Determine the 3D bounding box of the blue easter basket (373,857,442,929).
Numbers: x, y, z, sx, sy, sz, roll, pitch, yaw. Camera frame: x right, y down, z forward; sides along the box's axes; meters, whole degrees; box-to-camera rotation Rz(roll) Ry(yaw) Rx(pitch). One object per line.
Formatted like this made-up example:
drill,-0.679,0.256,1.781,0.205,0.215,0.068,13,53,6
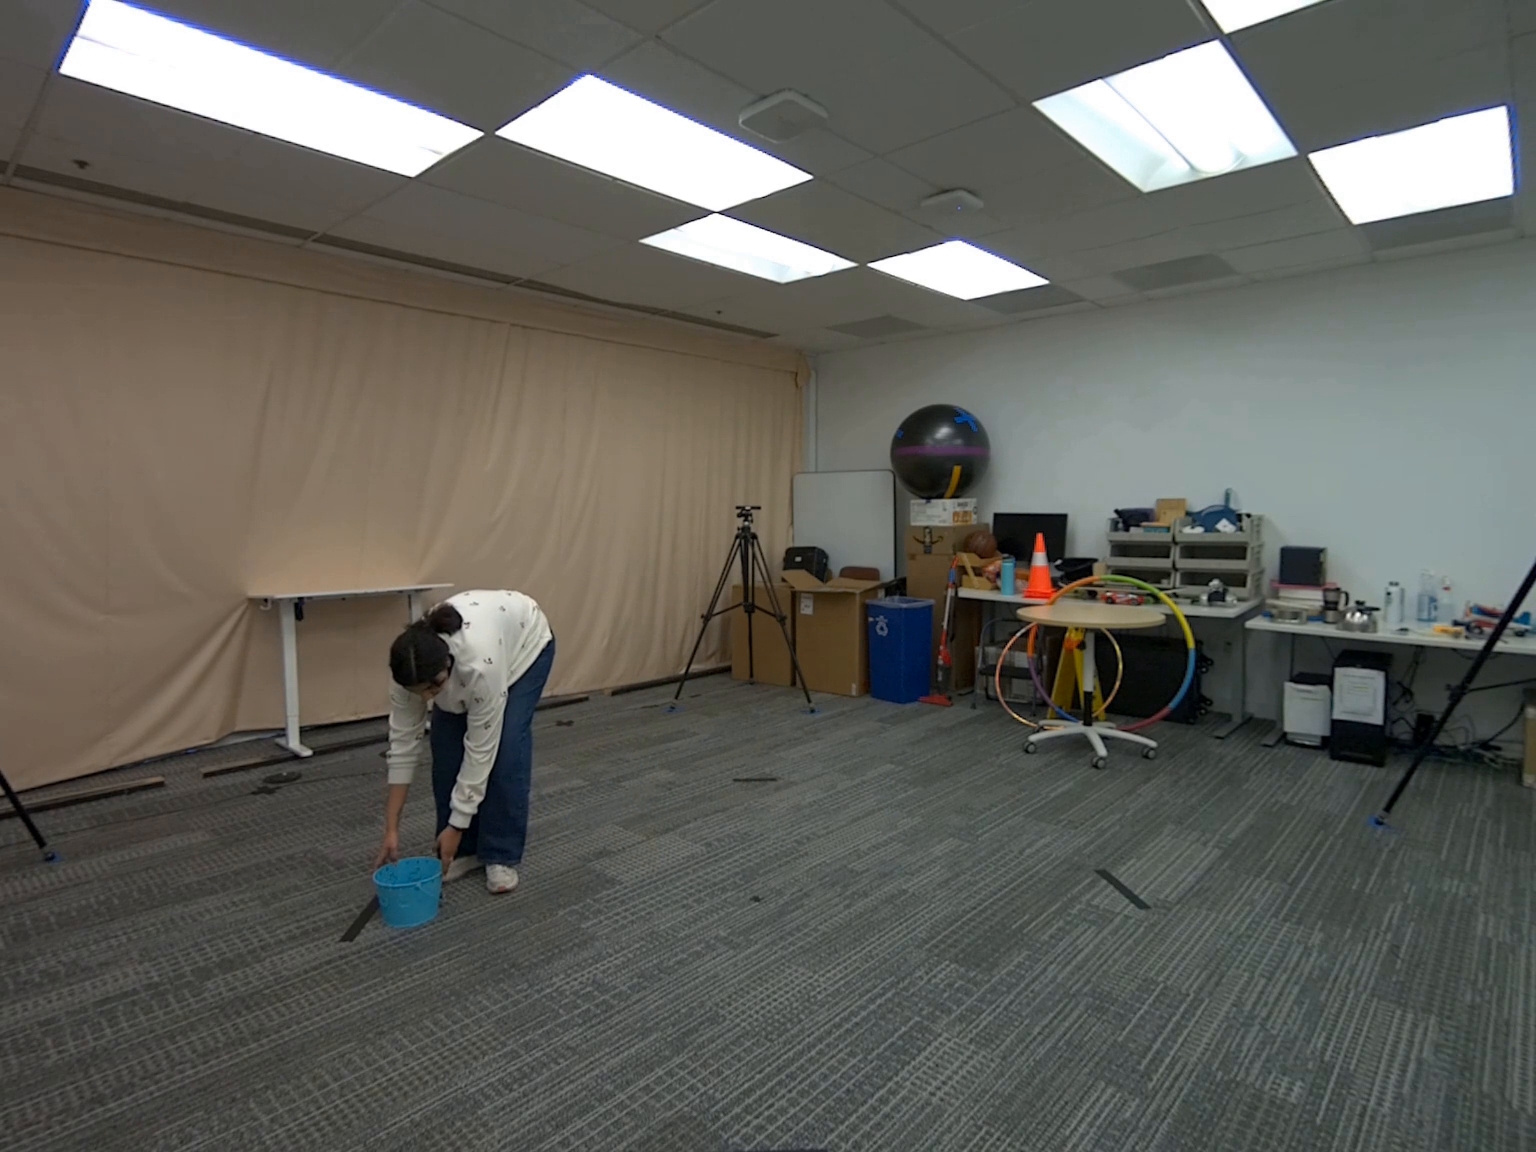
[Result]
blue easter basket,-1.213,1.072,2.882,0.243,0.155,0.244,-1,5,-2
